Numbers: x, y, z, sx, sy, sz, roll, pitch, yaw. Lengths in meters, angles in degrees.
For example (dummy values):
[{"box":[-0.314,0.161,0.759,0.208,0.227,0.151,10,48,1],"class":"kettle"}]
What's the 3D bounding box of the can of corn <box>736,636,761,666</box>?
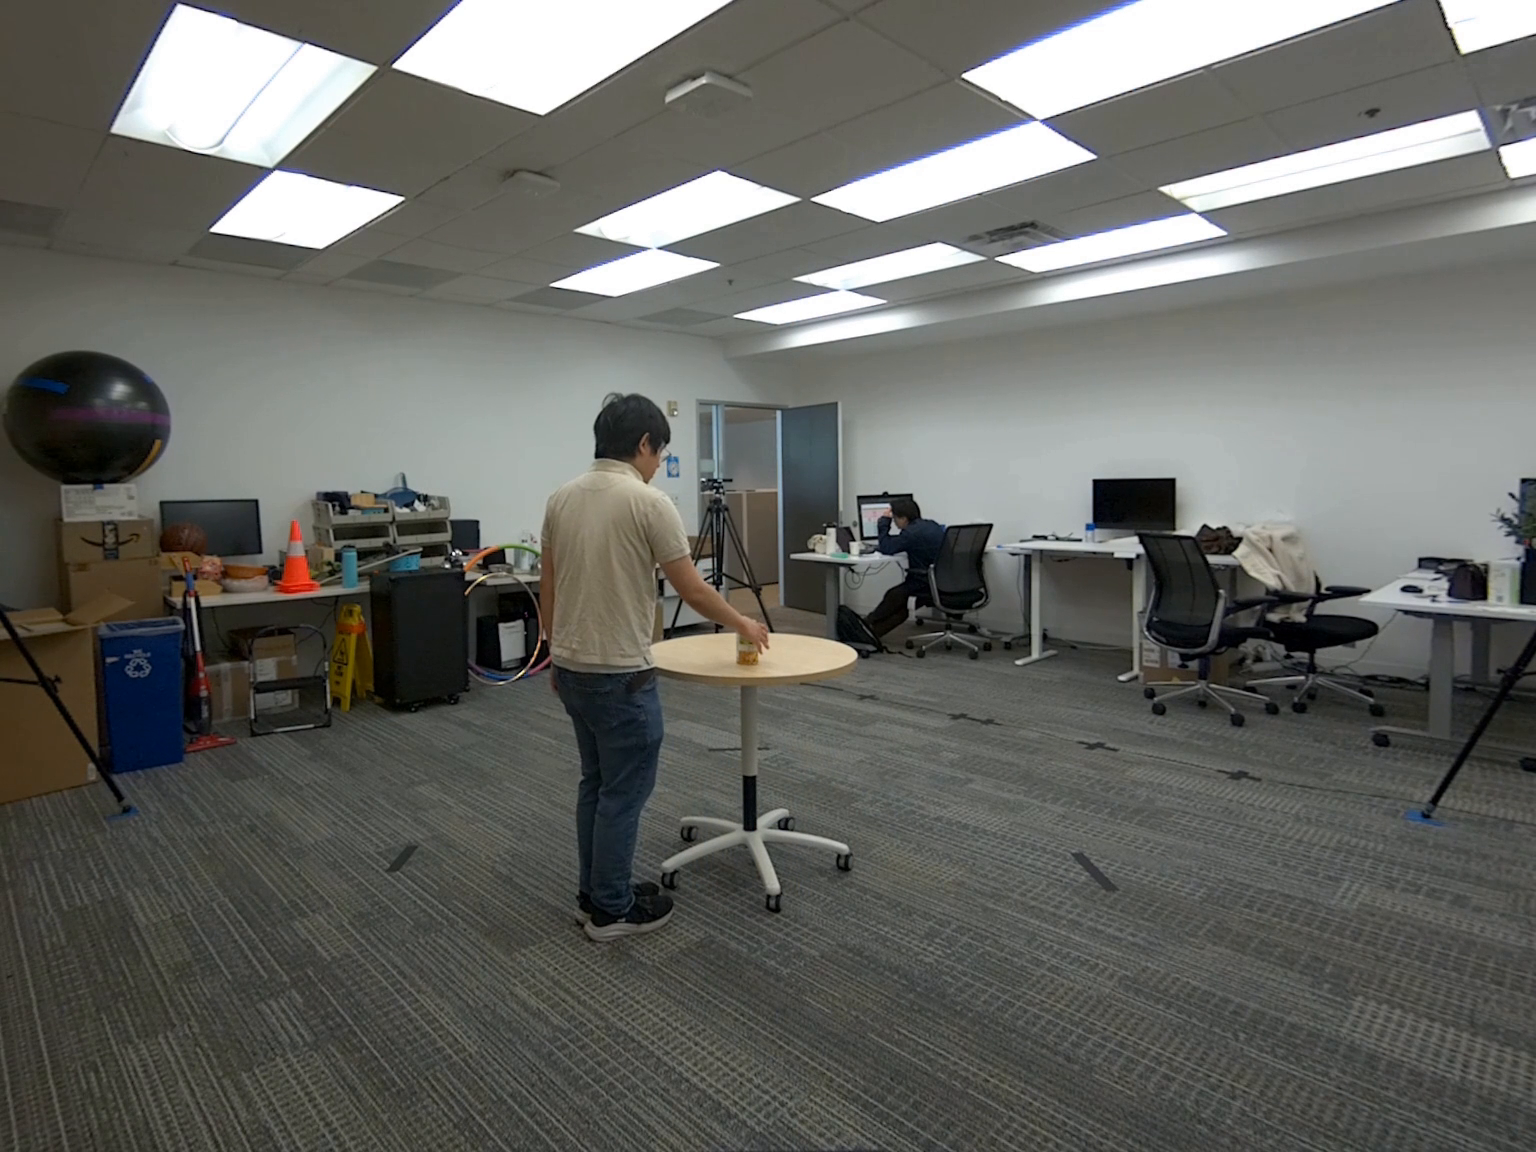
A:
[{"box":[-0.067,0.236,2.854,0.074,0.110,0.074,0,5,-2],"class":"can of corn"}]
